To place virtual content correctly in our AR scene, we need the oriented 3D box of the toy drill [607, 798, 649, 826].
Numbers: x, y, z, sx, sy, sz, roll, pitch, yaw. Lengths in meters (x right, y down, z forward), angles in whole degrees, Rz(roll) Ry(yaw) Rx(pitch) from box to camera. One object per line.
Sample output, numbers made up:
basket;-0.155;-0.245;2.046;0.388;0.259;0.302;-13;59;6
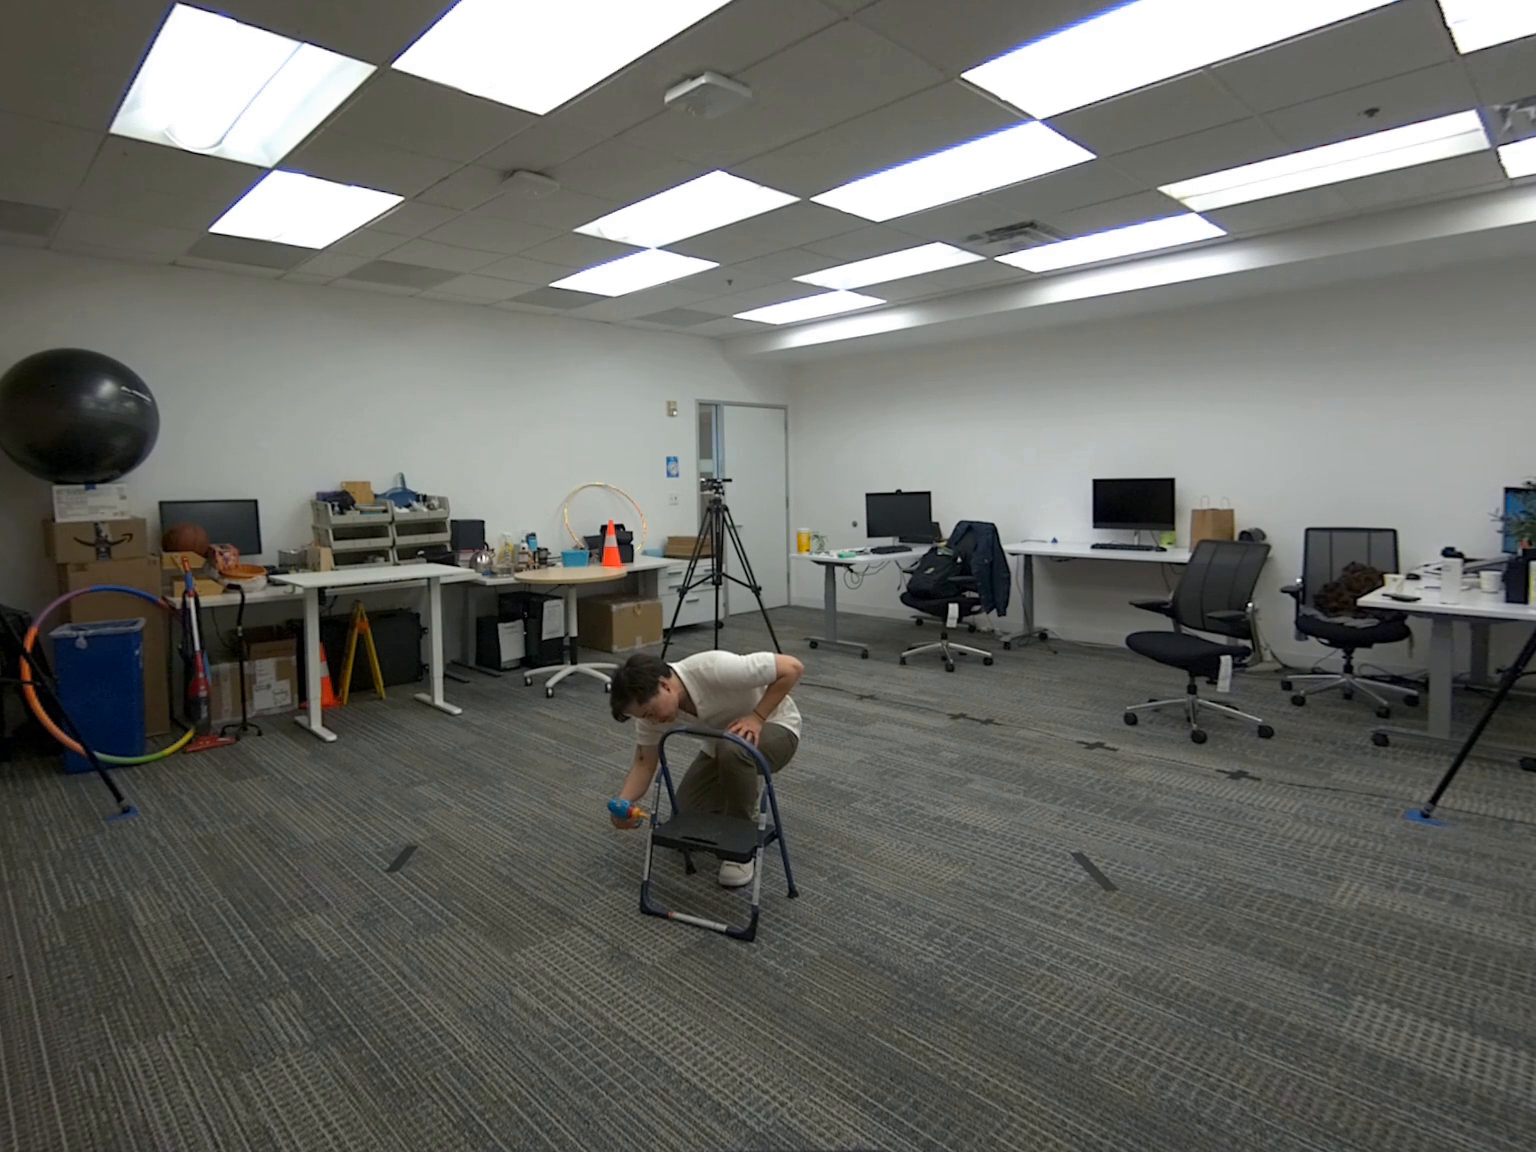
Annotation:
toy drill;-0.470;0.821;2.938;0.175;0.062;0.140;9;-29;29
